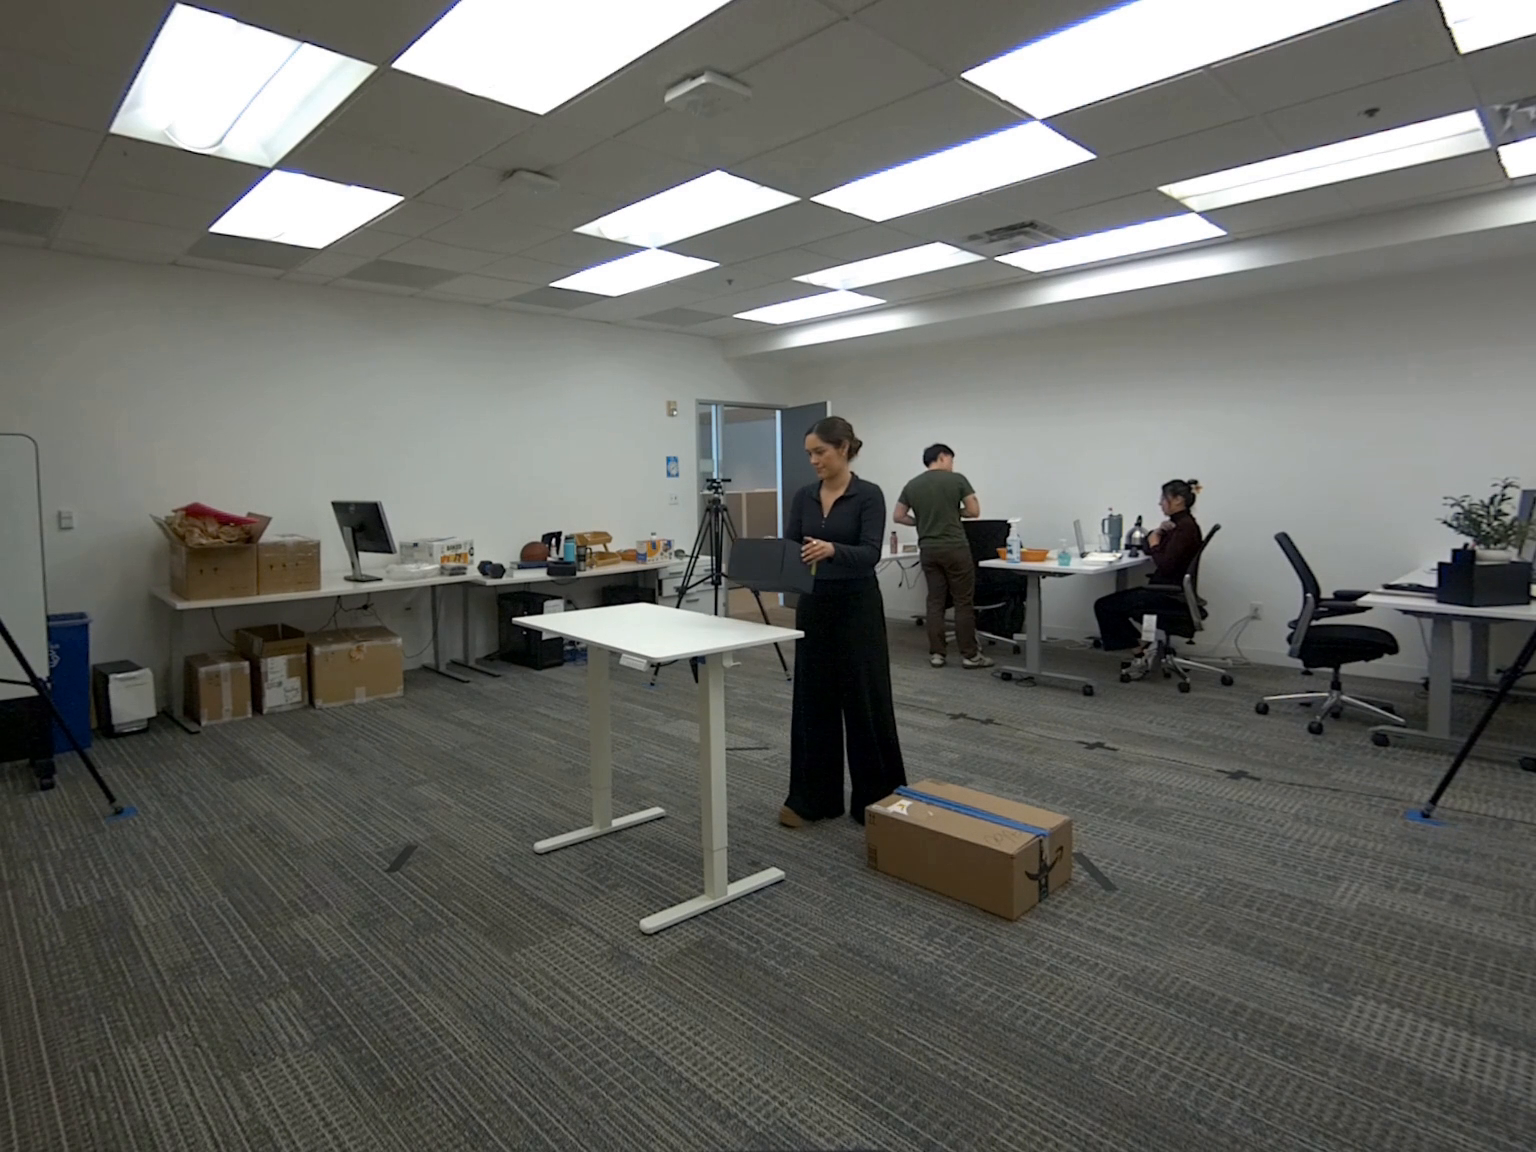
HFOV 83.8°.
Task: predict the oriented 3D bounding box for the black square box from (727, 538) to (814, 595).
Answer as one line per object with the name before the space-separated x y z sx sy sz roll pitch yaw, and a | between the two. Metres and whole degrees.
black square box | 0.021 -0.034 3.046 0.234 0.157 0.209 1 -12 35
